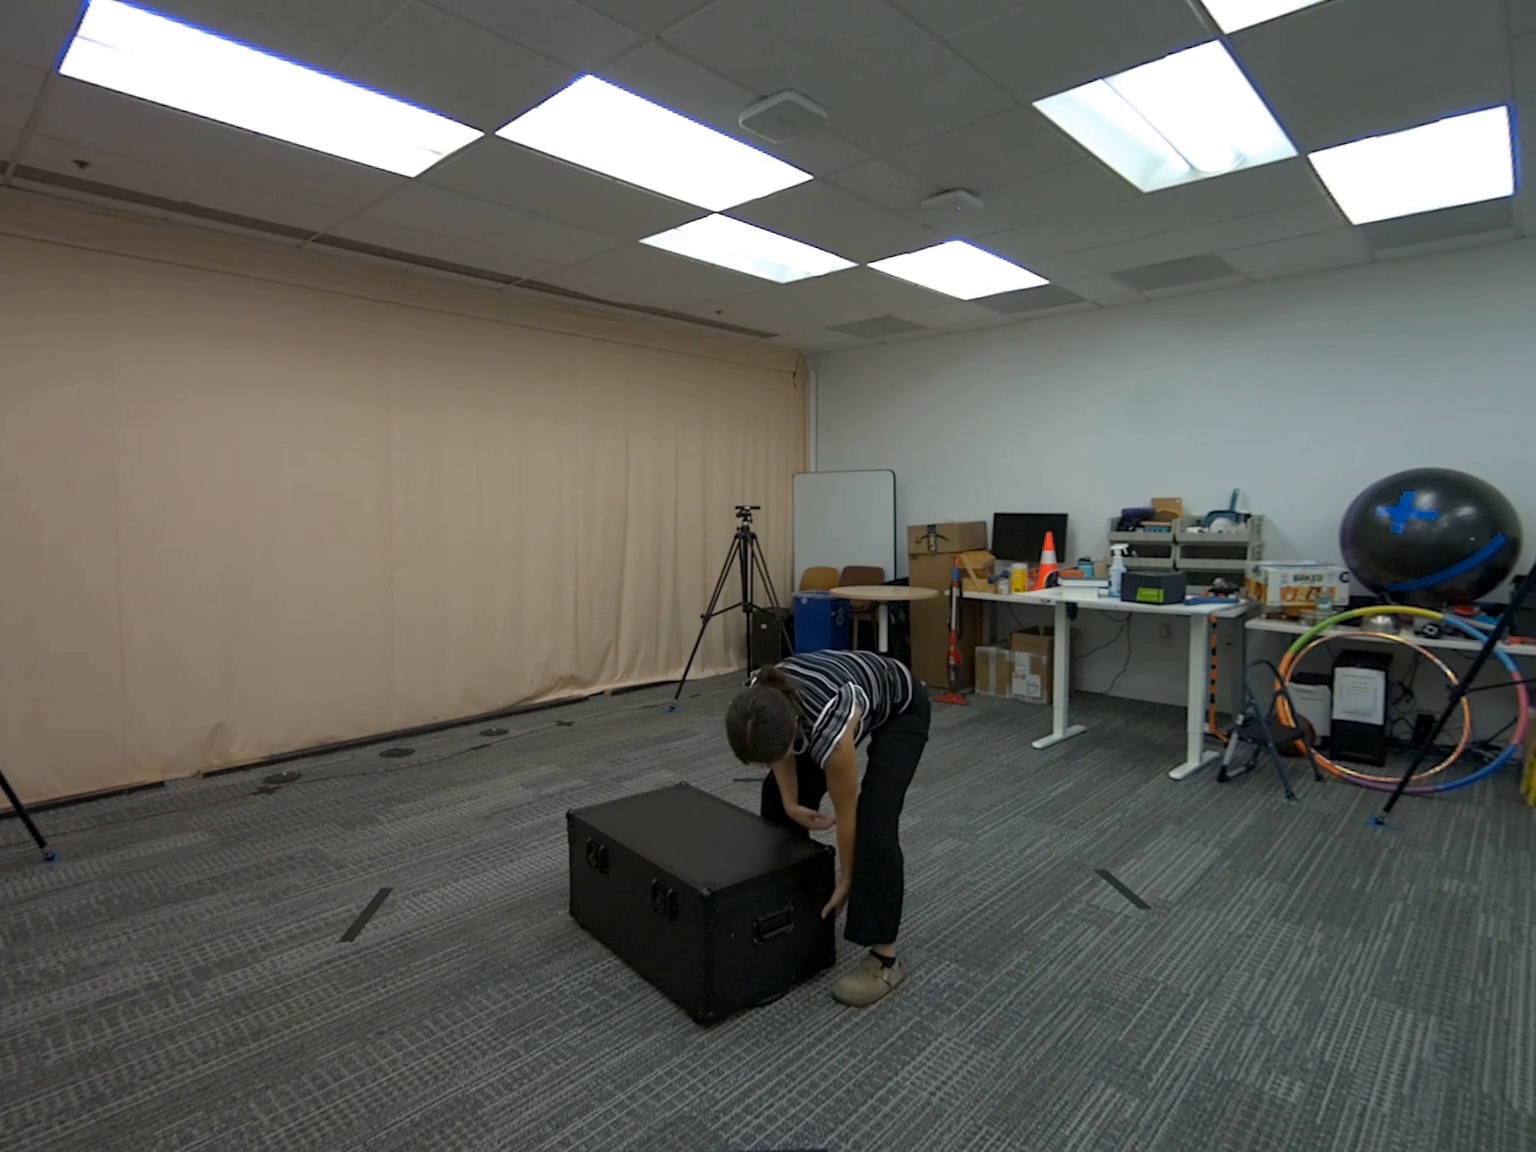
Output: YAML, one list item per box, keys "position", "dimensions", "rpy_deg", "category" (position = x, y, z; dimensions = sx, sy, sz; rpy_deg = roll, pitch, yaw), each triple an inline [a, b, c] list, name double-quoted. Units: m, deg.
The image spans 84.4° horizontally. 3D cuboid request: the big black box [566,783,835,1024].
- position: [-0.256, 0.983, 2.690]
  dimensions: [0.505, 0.395, 0.890]
  rpy_deg: [-2, 6, -39]
  category: "big black box"
